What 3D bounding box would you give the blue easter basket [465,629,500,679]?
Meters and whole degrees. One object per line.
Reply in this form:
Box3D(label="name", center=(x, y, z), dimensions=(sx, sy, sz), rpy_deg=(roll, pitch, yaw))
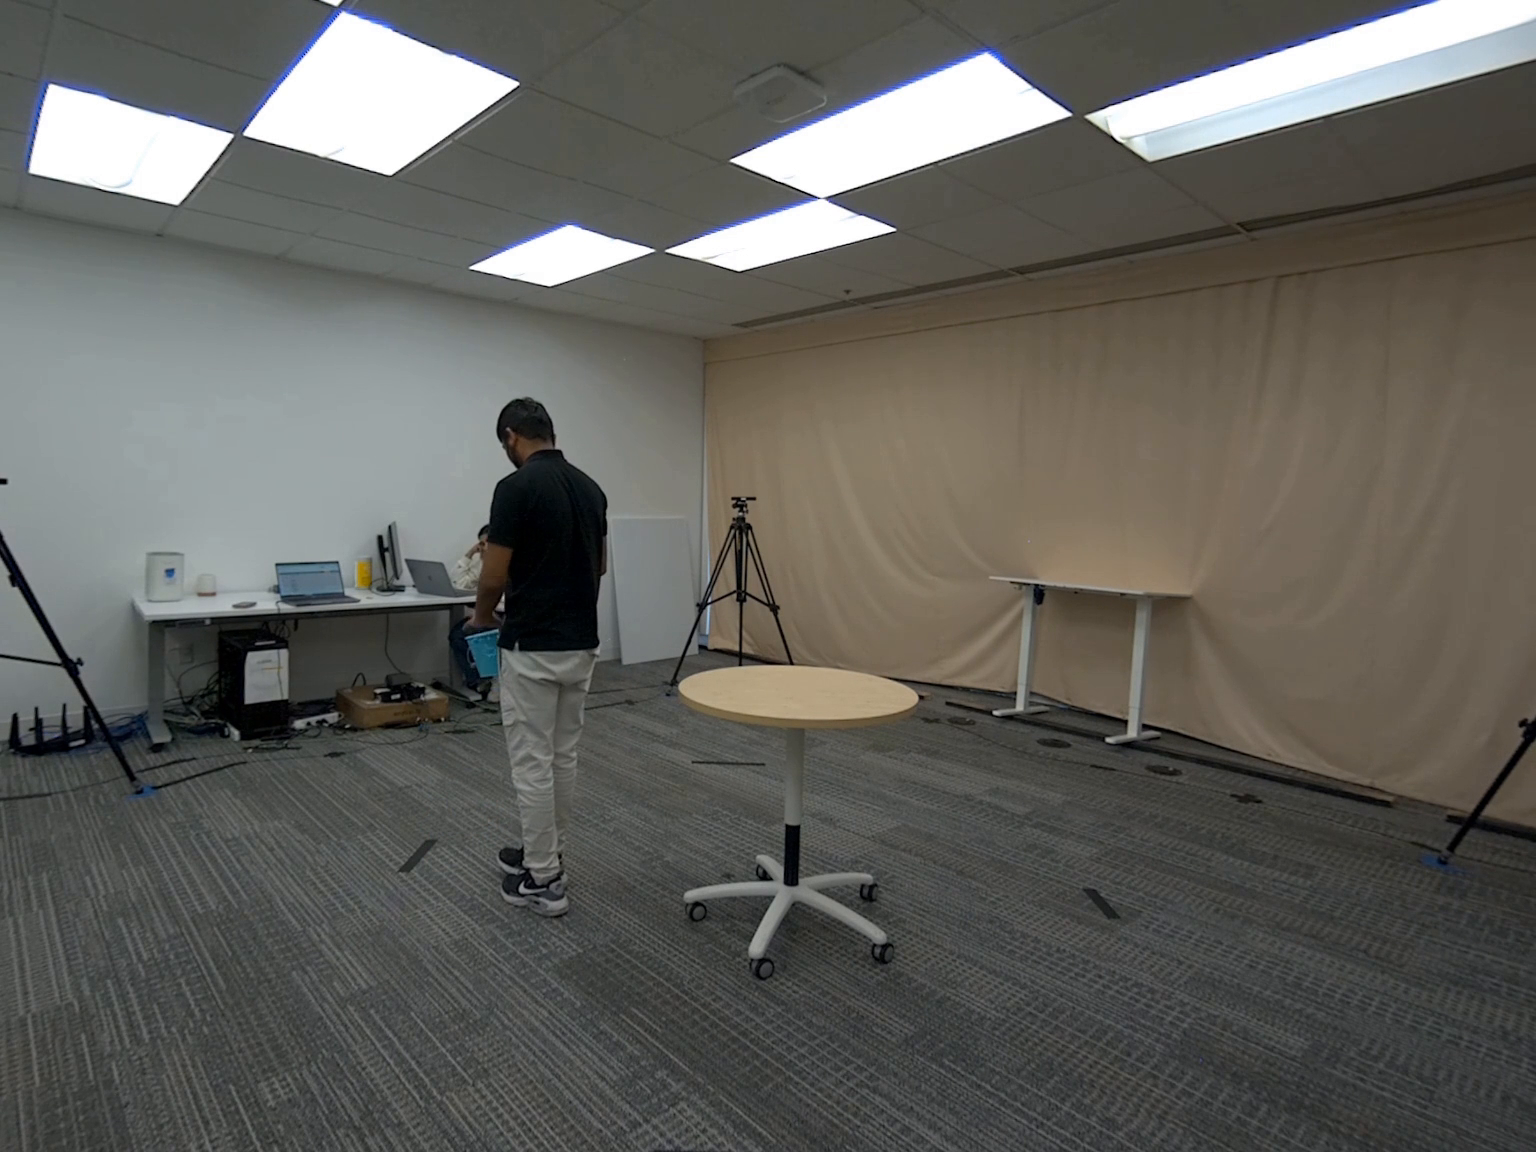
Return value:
Box3D(label="blue easter basket", center=(-1.016, 0.276, 3.138), dimensions=(0.243, 0.156, 0.244), rpy_deg=(-9, 2, -1))
